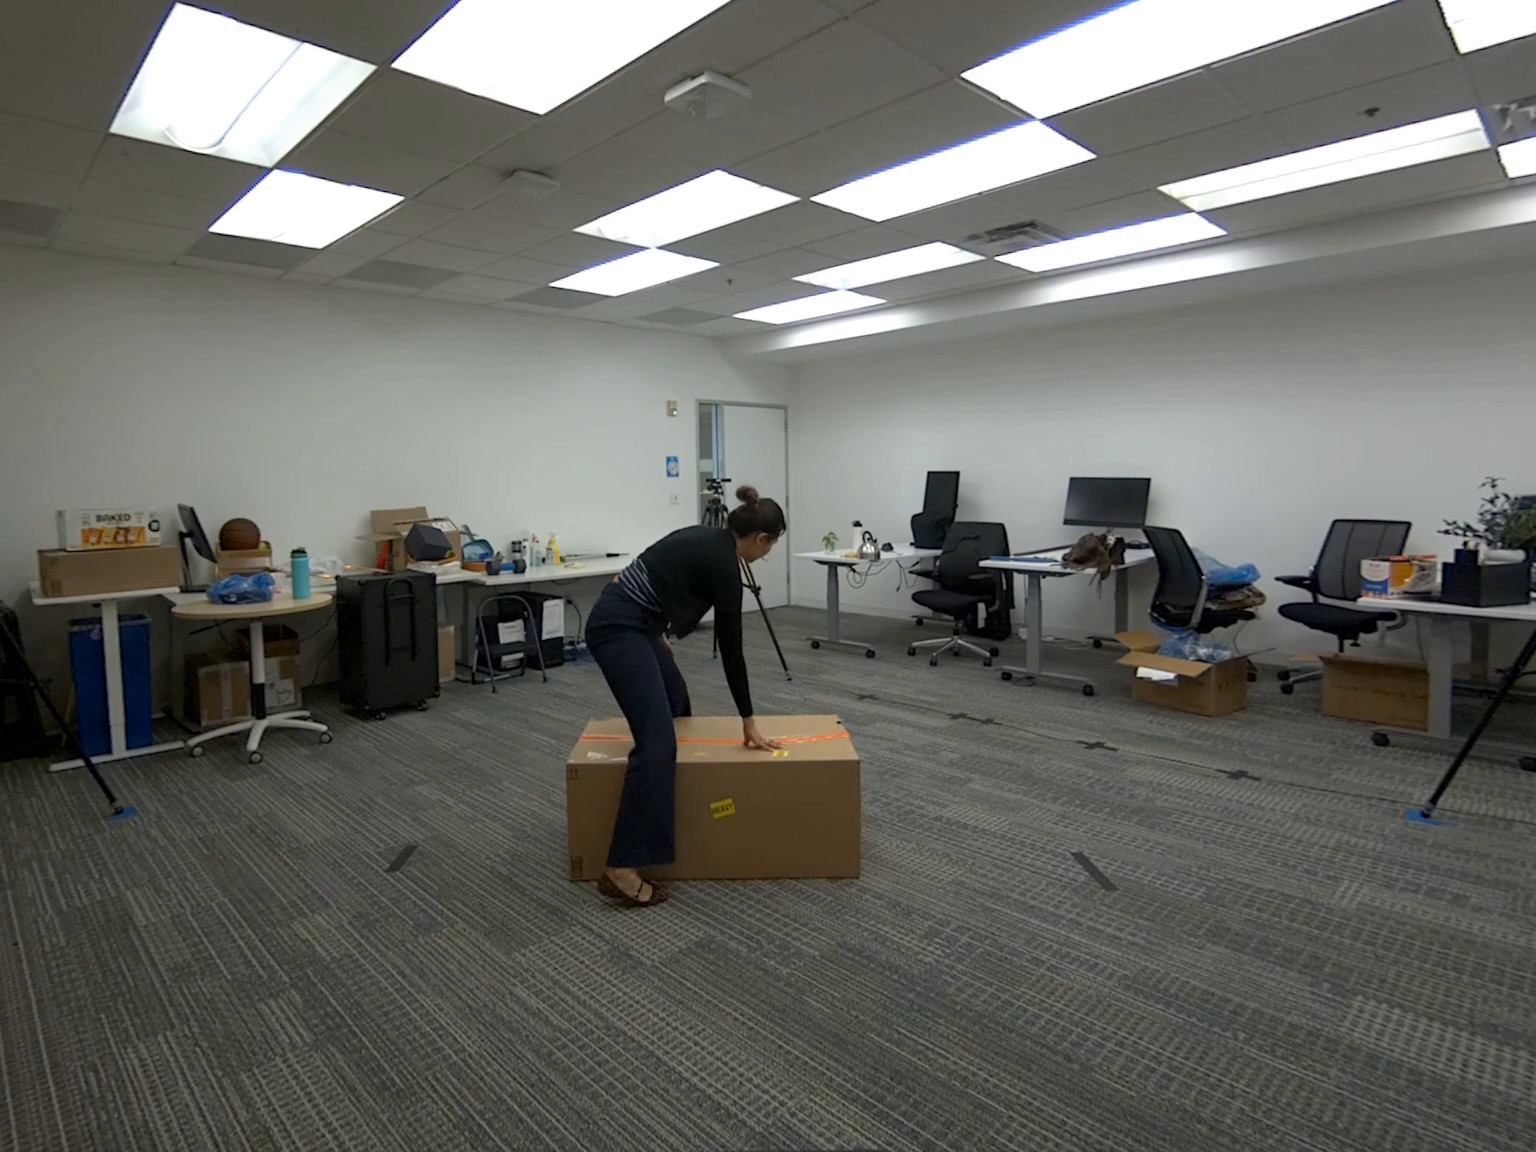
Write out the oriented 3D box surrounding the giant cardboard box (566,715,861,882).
[{"bbox_3d":[-0.203,0.818,3.251,1.026,0.424,0.580,-1,6,0],"label":"giant cardboard box"}]
